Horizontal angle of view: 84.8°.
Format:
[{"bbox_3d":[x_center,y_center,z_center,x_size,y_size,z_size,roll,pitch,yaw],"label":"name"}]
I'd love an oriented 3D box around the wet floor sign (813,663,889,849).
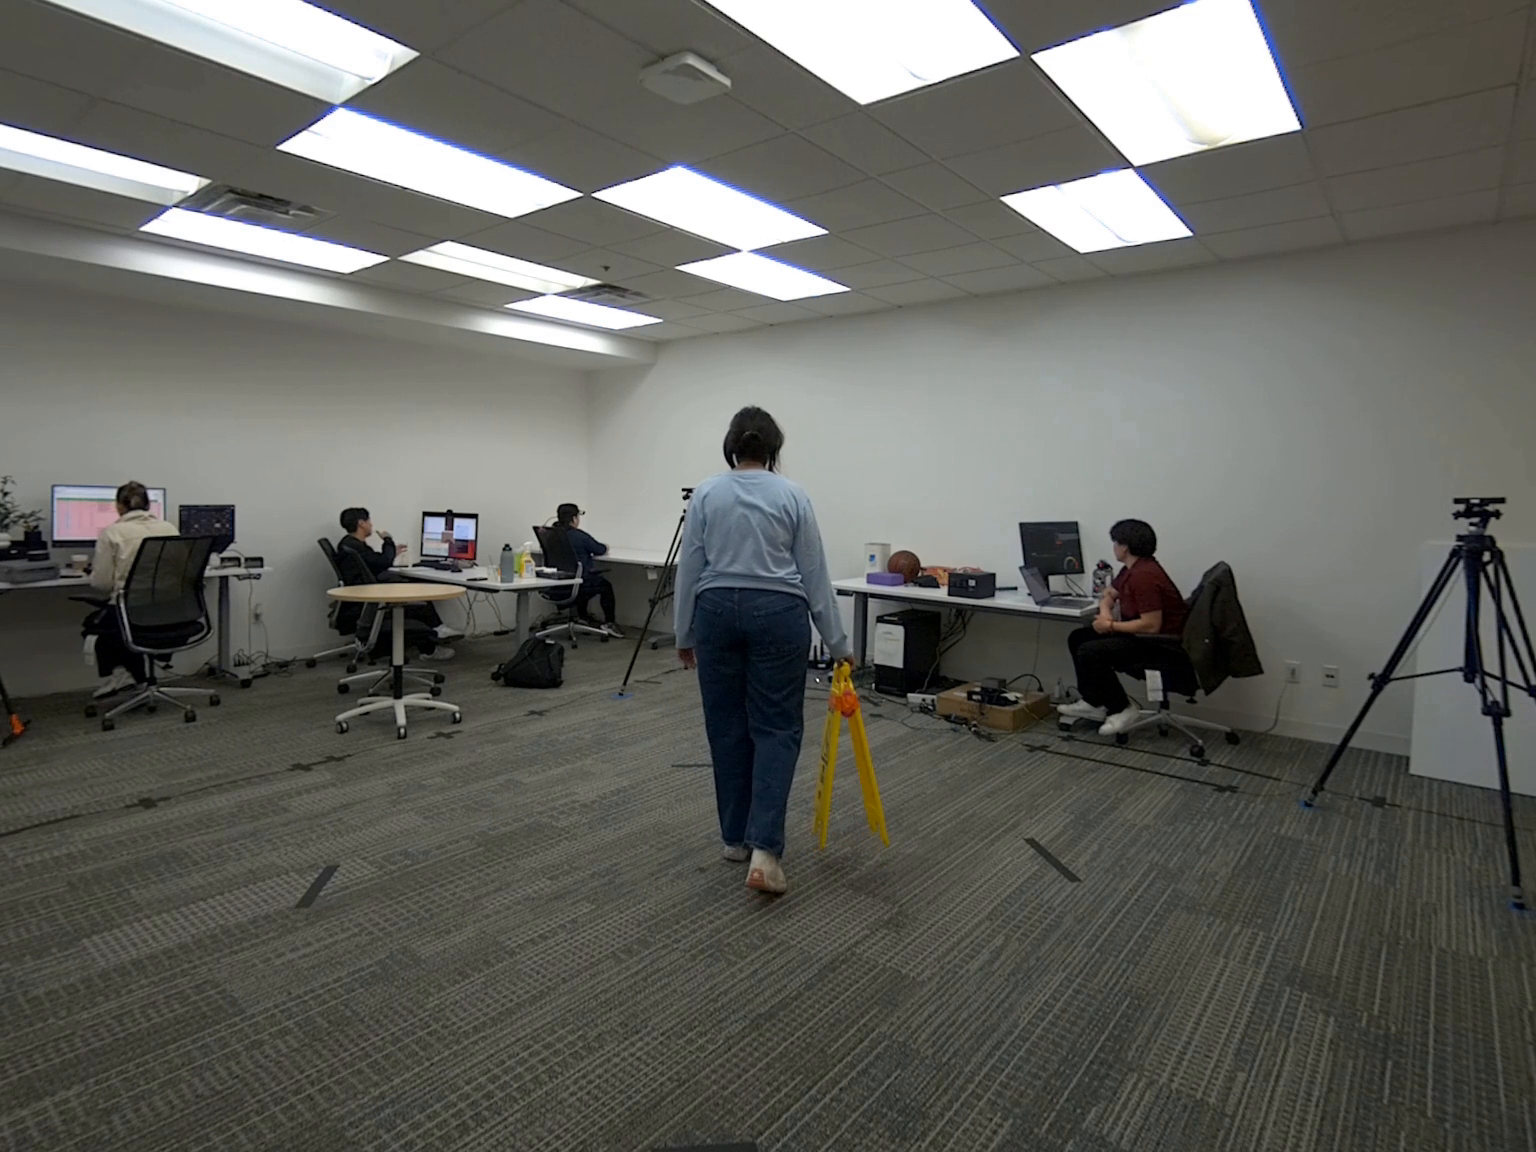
[{"bbox_3d":[0.283,0.651,3.176,0.289,0.648,0.282,0,-2,-4],"label":"wet floor sign"}]
